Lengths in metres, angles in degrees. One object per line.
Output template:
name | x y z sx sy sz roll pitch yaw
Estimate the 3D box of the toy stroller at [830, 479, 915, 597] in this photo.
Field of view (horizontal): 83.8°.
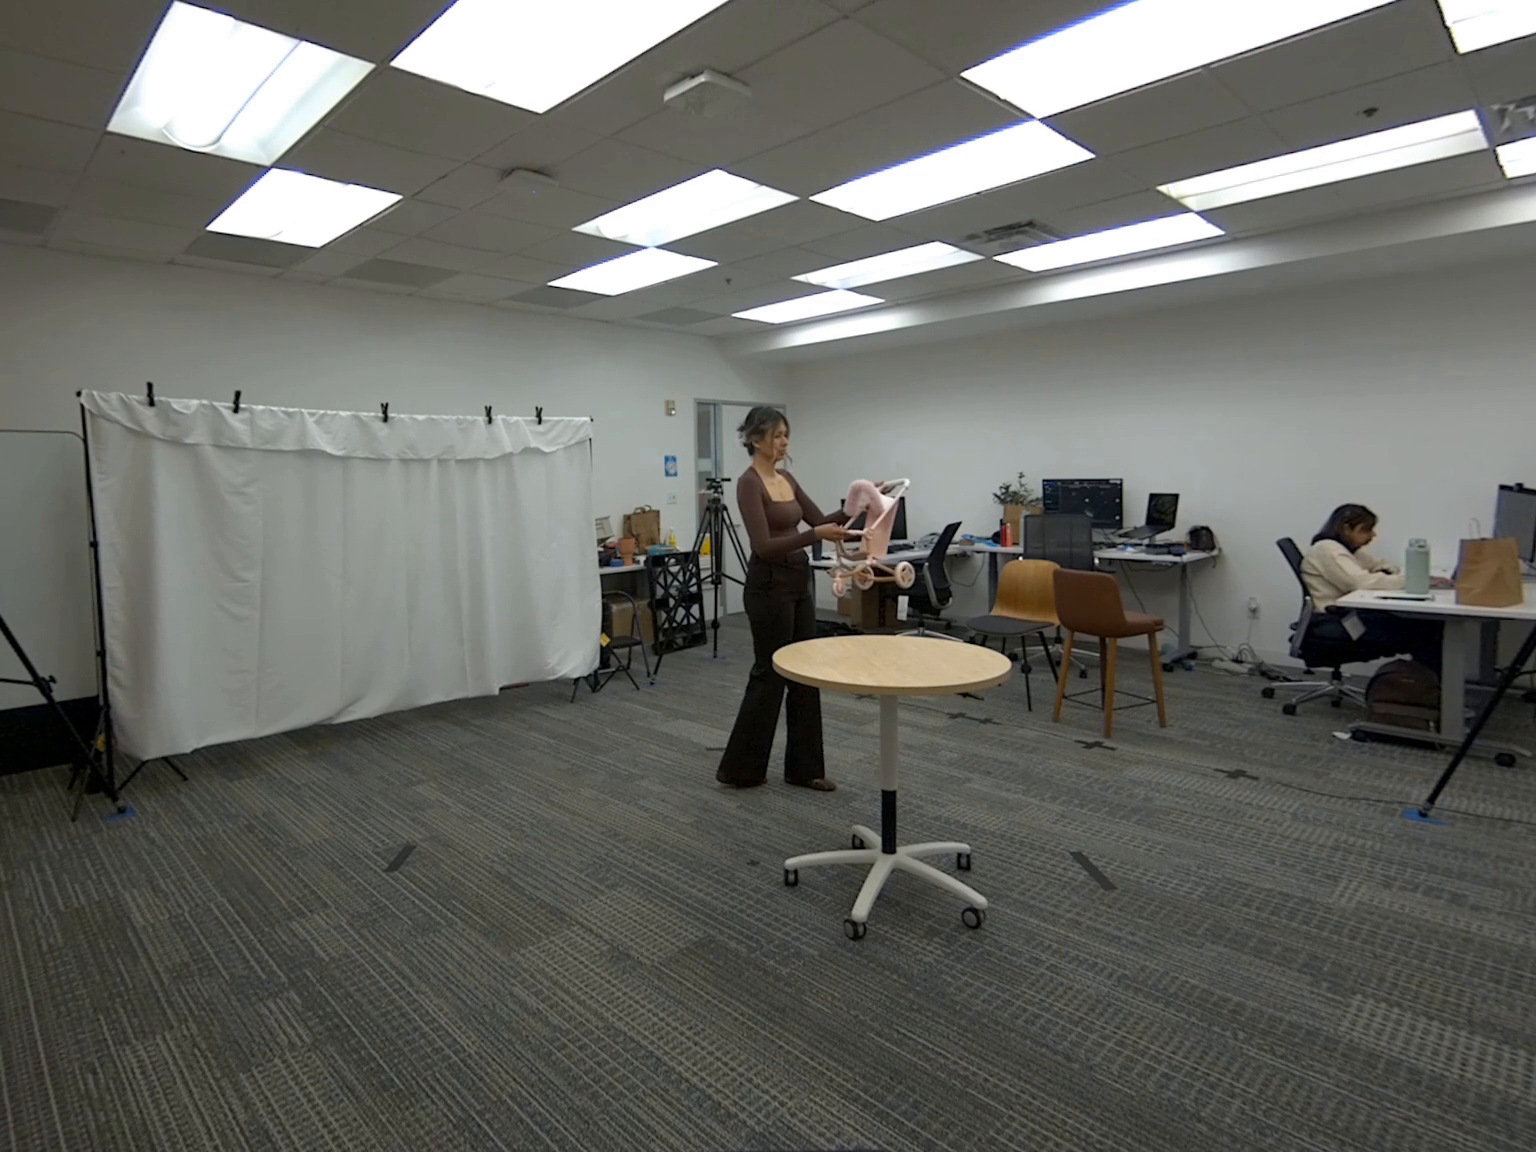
toy stroller | 0.406 -0.164 3.593 0.332 0.538 0.288 7 -7 -31
